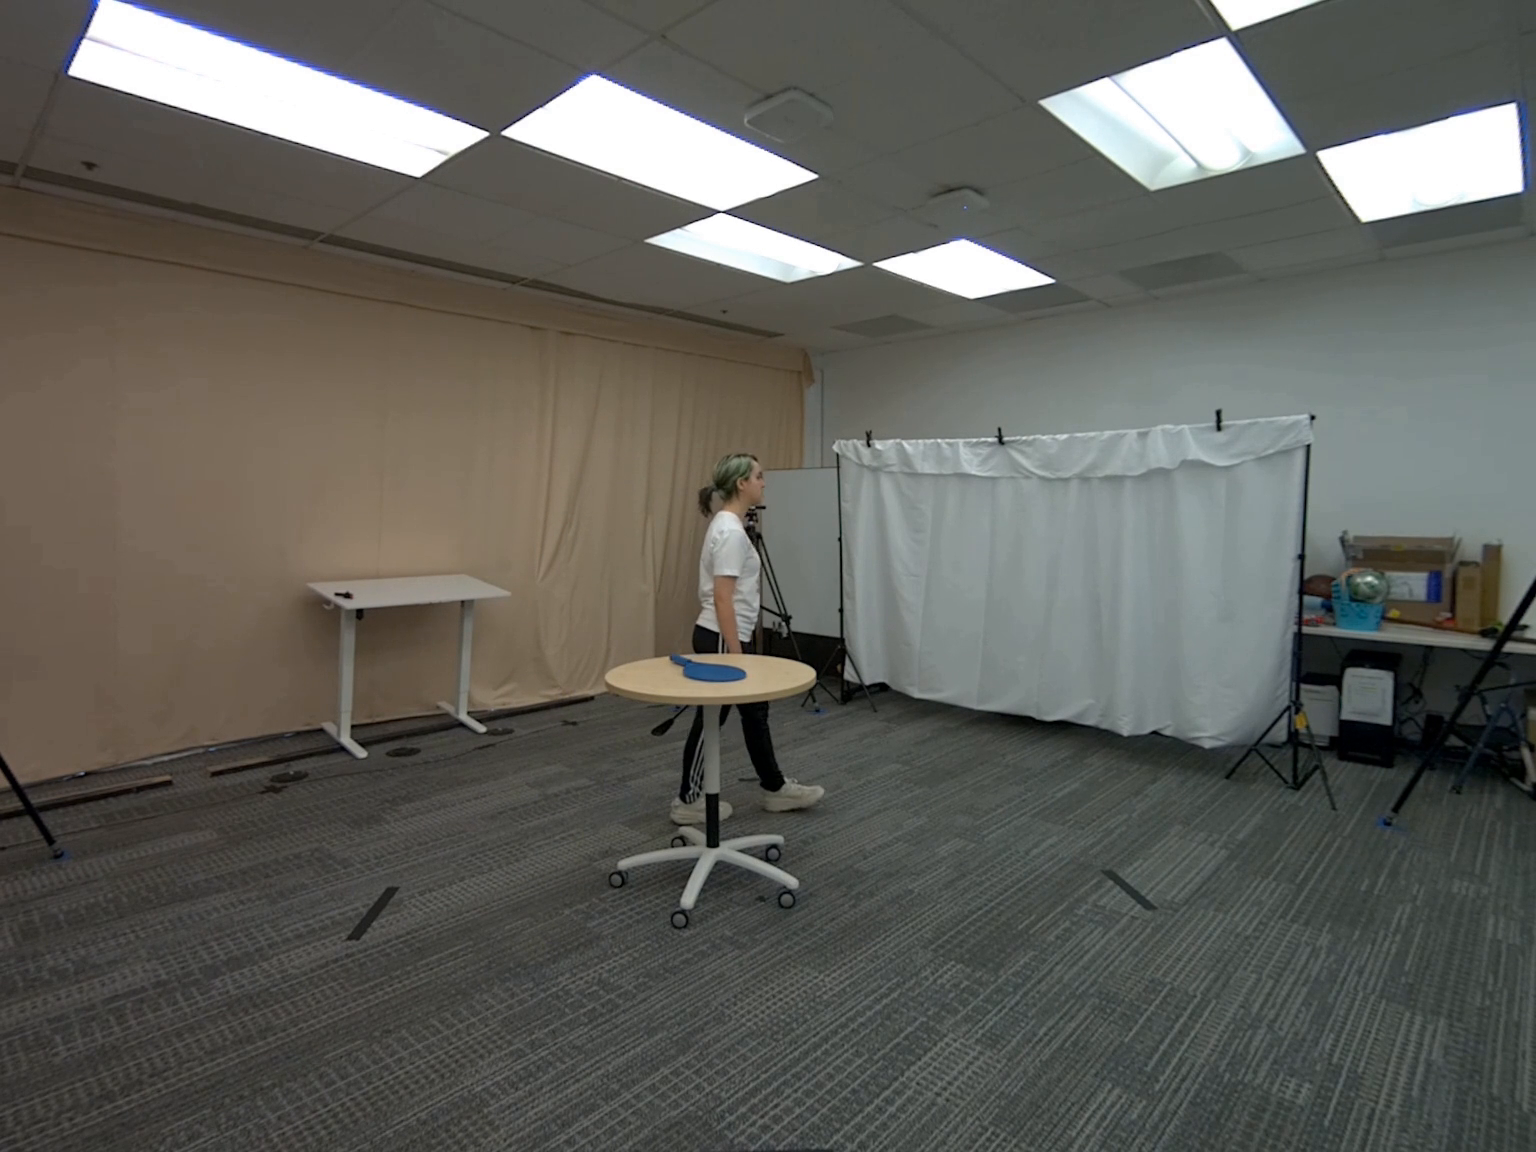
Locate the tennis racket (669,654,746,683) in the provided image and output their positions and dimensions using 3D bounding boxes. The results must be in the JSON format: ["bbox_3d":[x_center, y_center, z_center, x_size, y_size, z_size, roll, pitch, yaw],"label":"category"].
[{"bbox_3d":[-0.239,0.340,3.102,0.207,0.031,0.447,-4,7,-37],"label":"tennis racket"}]
